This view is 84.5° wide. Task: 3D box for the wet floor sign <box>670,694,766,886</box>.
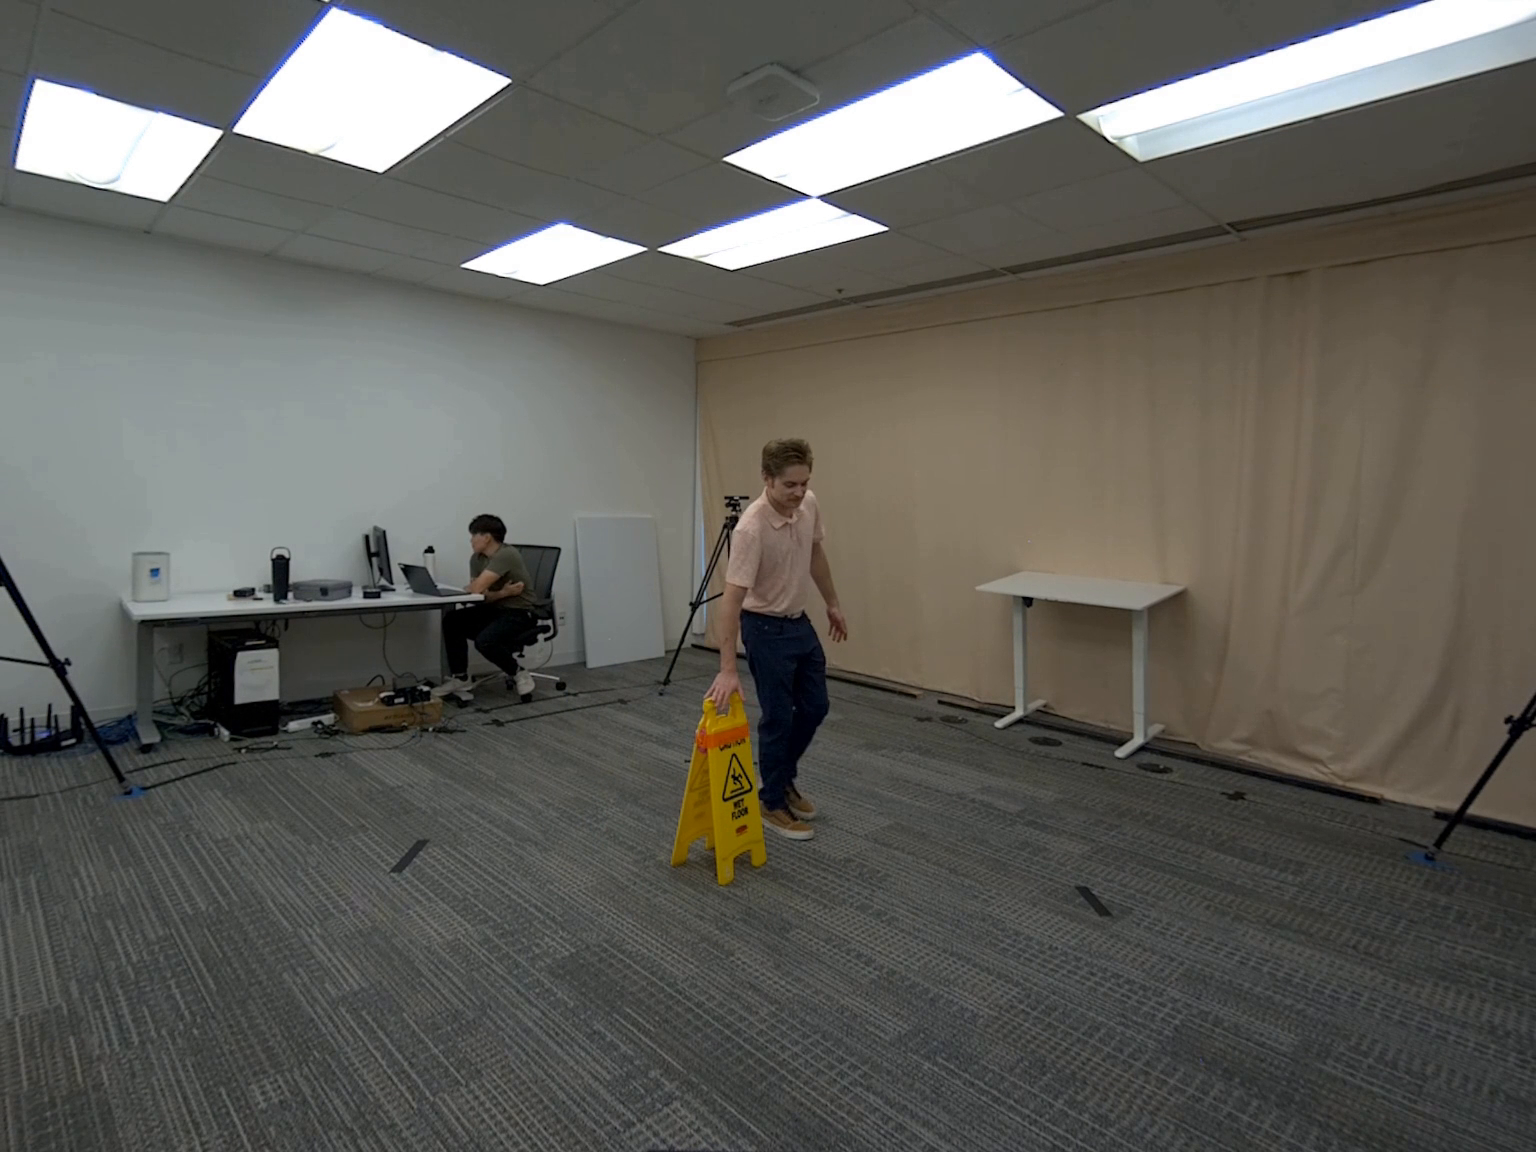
[{"bbox_3d":[-0.181,0.773,3.173,0.297,0.644,0.276,4,5,37],"label":"wet floor sign"}]
